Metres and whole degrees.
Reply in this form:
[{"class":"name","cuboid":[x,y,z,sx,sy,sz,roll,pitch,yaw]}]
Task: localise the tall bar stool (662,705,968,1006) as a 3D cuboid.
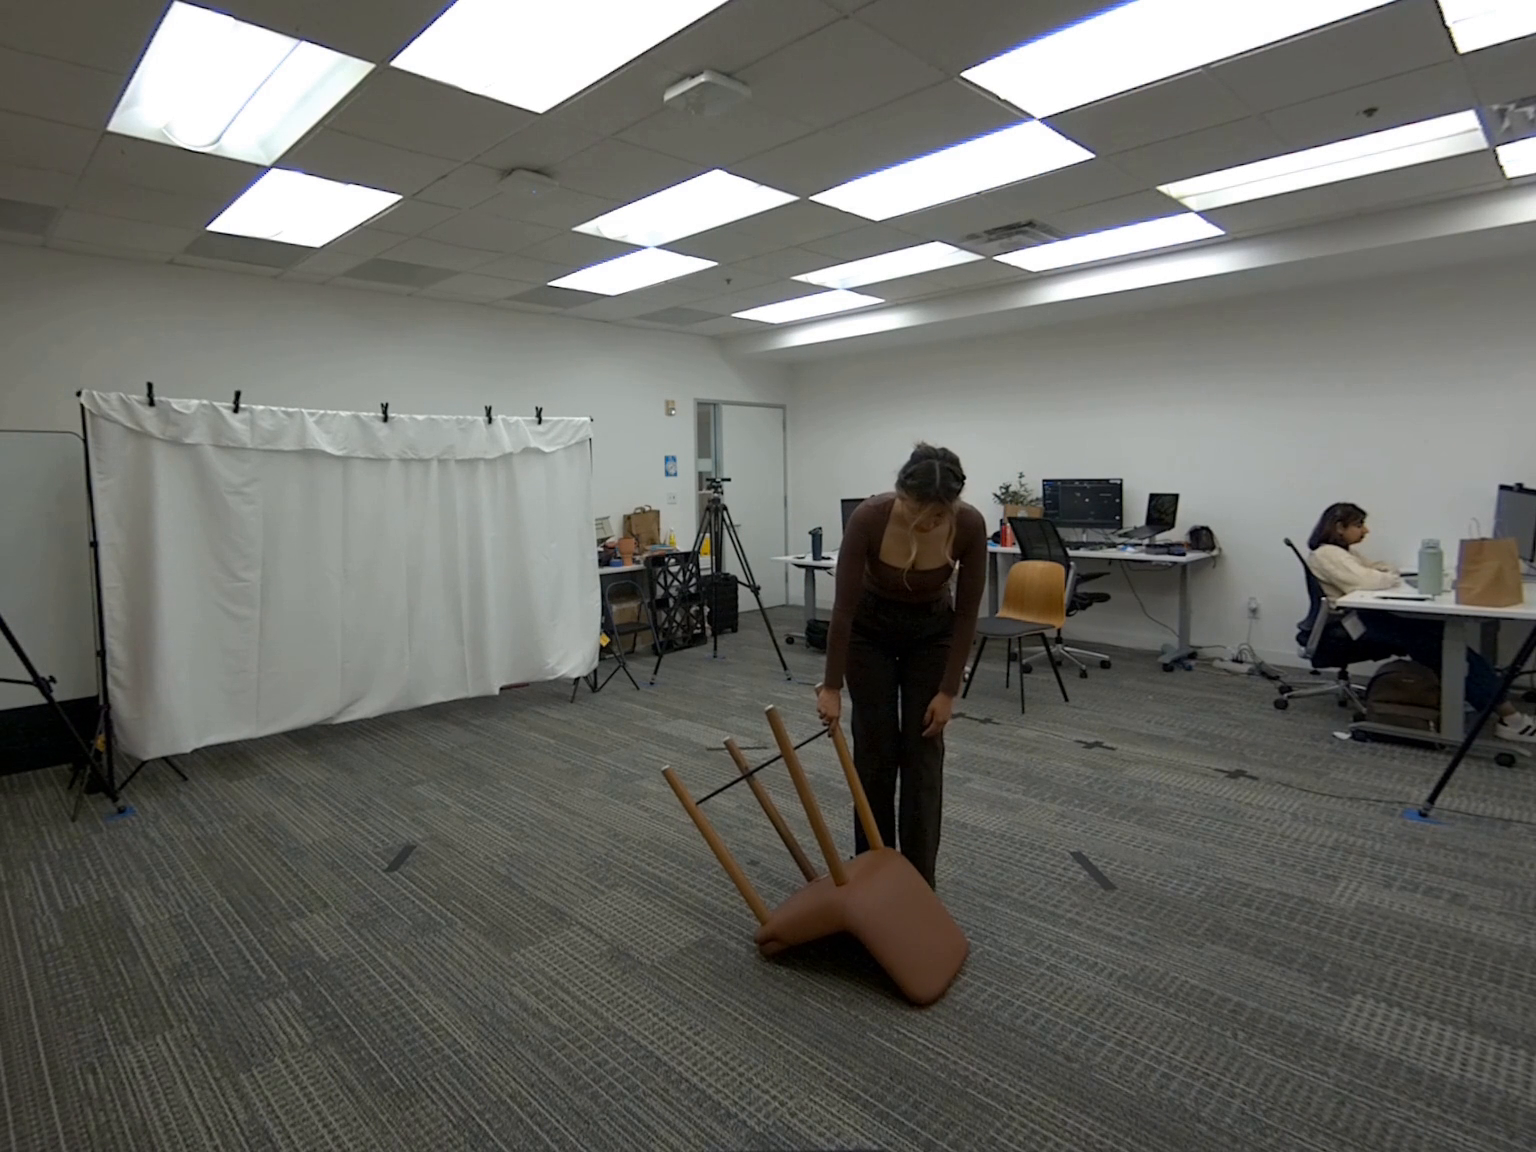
[{"class":"tall bar stool","cuboid":[0.145,0.851,2.596,0.469,0.907,0.446,-39,-16,25]}]
